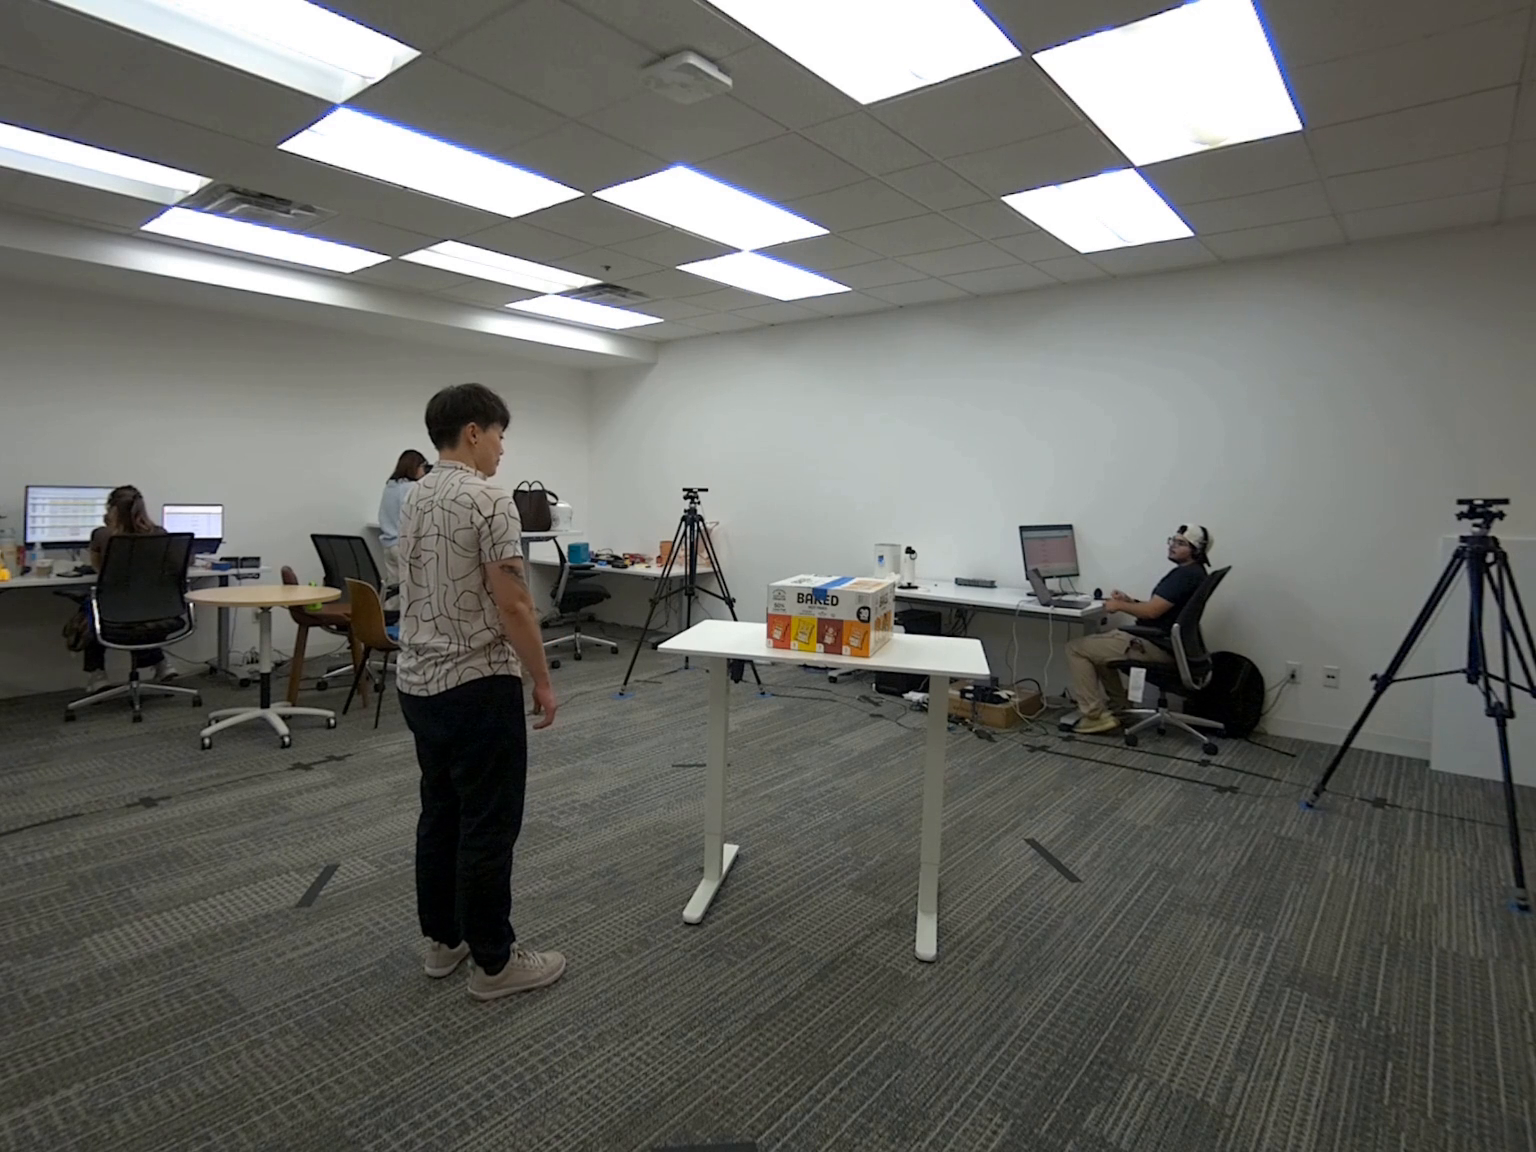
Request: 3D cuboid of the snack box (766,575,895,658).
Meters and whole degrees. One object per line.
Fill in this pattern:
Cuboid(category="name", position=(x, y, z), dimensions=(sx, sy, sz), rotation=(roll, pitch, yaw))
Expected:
Cuboid(category="snack box", position=(0.209, 0.120, 2.846), dimensions=(0.348, 0.205, 0.398), rotation=(4, 6, 20))
